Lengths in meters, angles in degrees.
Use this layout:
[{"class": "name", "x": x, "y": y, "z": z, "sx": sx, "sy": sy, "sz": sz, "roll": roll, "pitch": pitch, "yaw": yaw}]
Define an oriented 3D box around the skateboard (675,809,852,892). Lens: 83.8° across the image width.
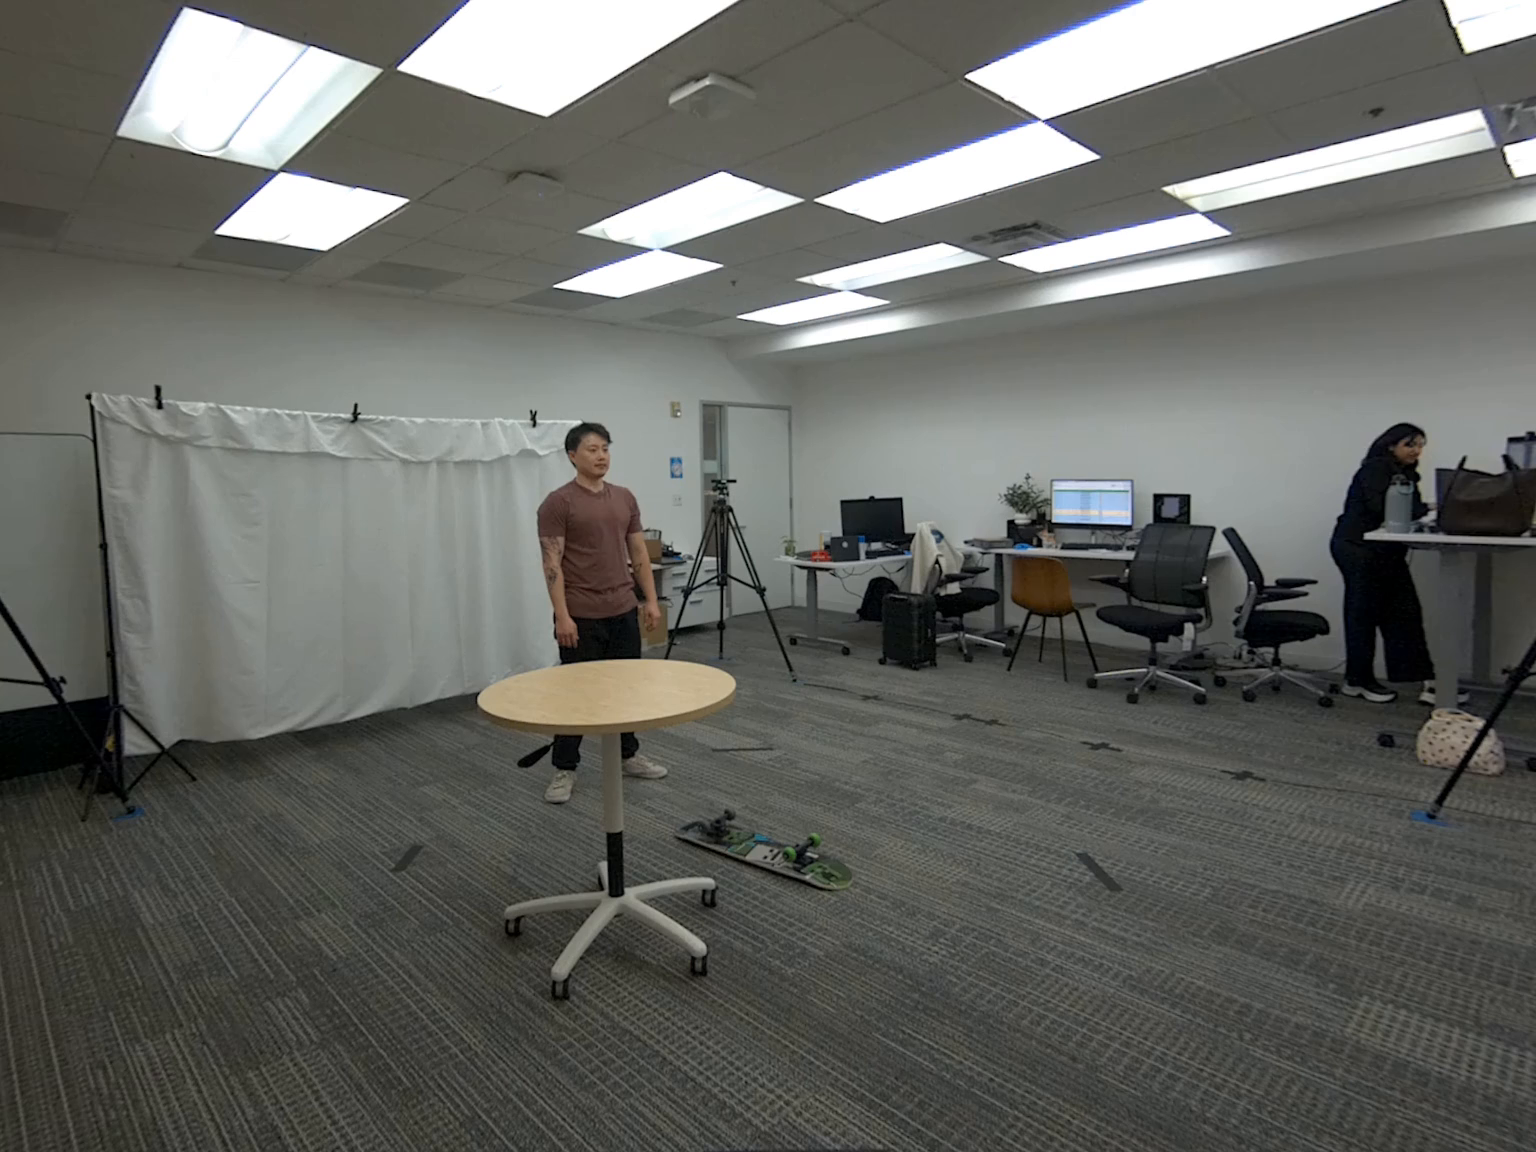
[{"class": "skateboard", "x": -0.036, "y": 0.985, "z": 3.175, "sx": 0.809, "sy": 0.110, "sz": 0.189, "roll": 4, "pitch": 8, "yaw": 40}]
